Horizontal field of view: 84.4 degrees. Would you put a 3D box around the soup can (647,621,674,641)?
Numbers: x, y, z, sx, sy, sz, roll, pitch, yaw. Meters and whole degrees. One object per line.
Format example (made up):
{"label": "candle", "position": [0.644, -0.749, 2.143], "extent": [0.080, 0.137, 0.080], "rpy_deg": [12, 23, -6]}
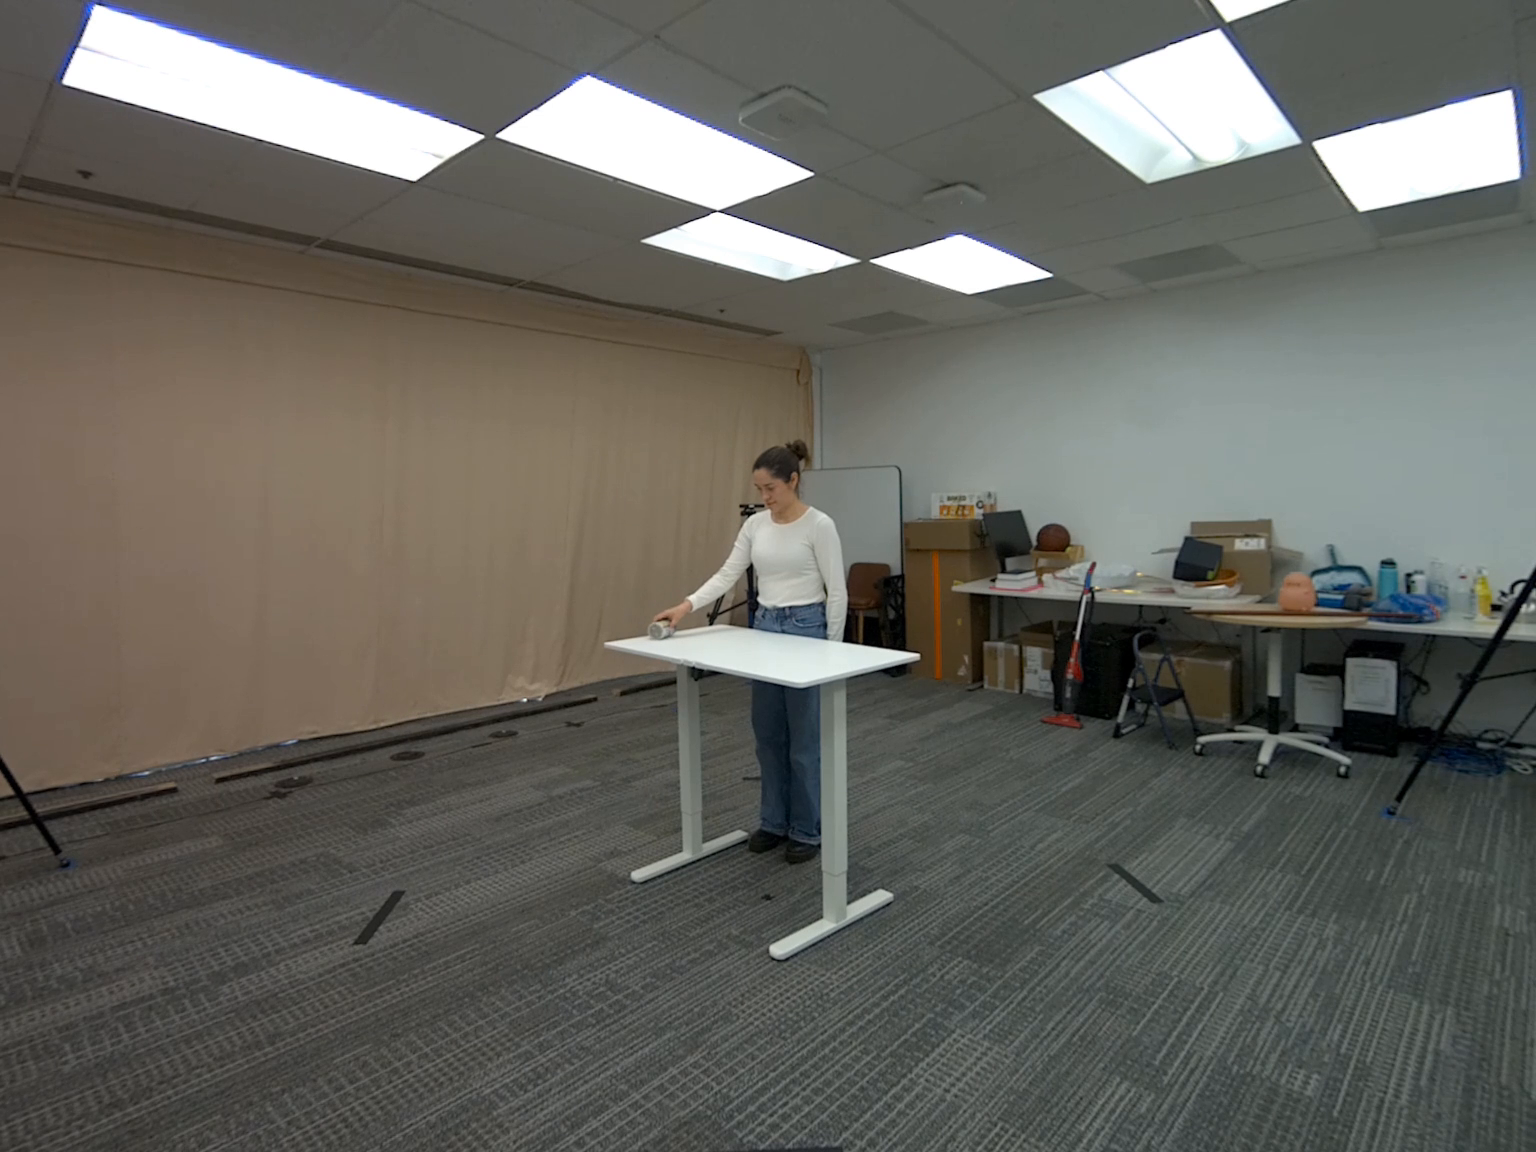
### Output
{"label": "soup can", "position": [-0.403, 0.208, 3.244], "extent": [0.119, 0.067, 0.068], "rpy_deg": [-1, 4, -20]}
